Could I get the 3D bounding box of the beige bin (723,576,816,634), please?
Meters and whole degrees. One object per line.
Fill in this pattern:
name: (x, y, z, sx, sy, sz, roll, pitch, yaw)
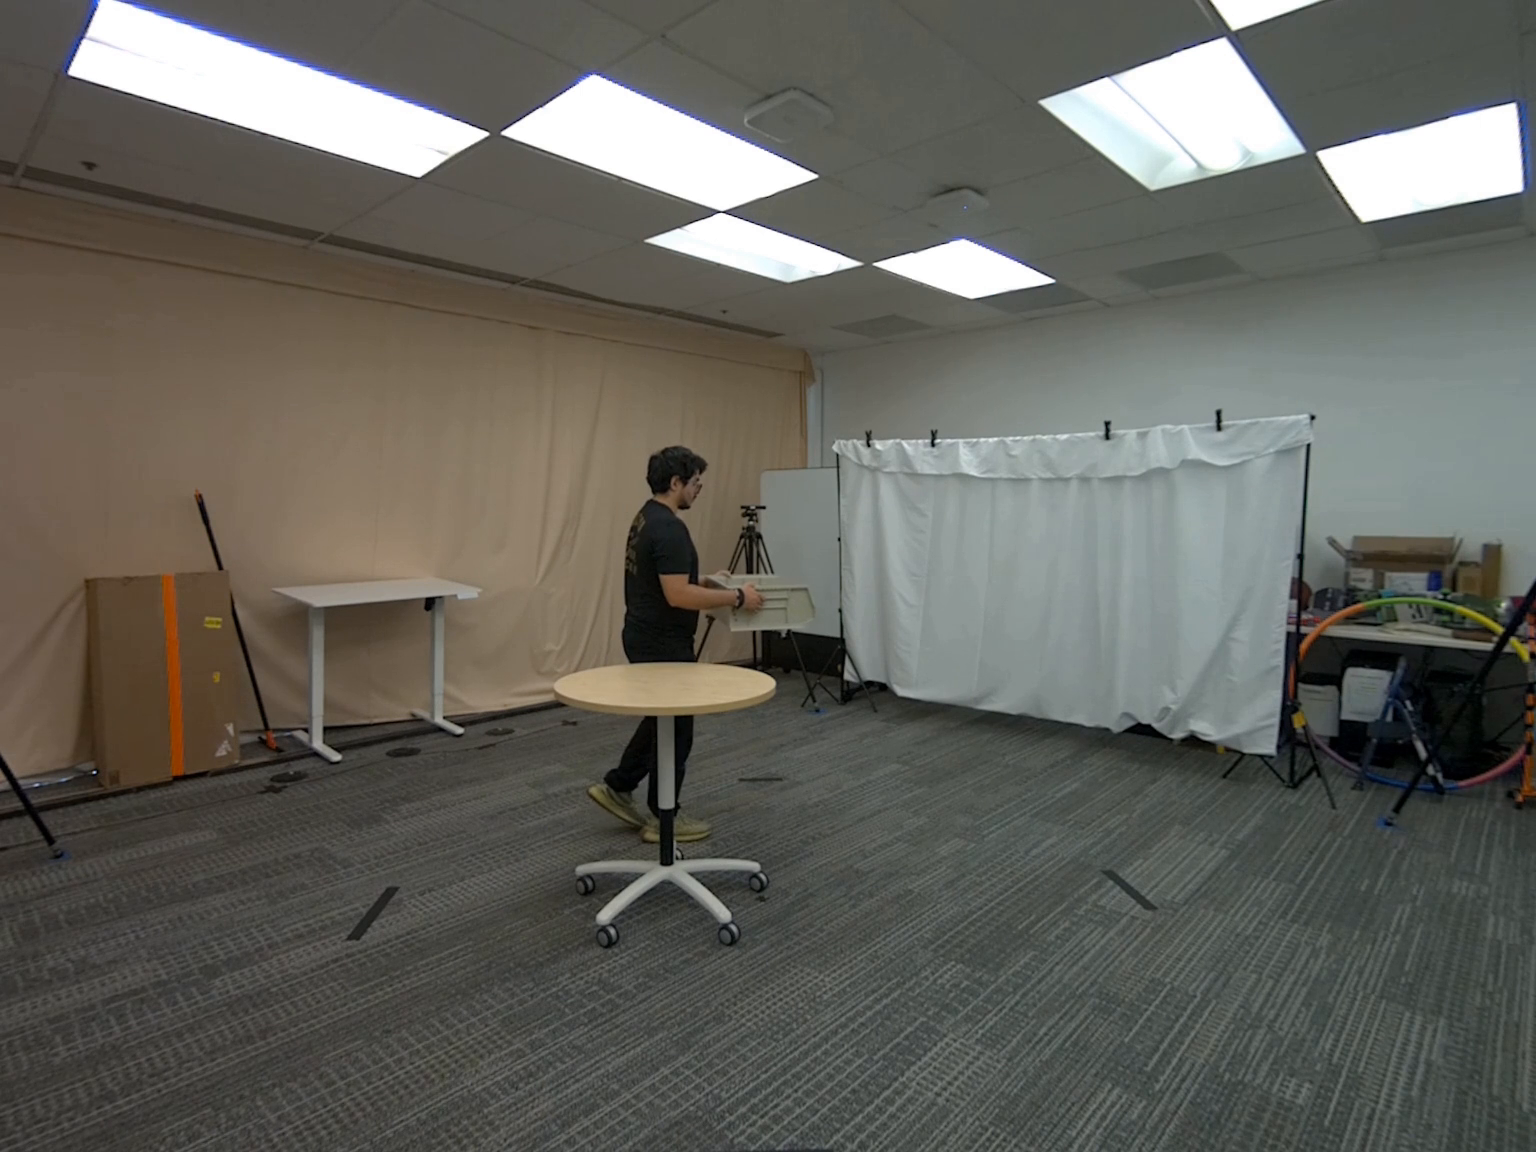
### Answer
beige bin: (-0.041, 0.114, 3.616, 0.371, 0.188, 0.430, -1, 6, -16)
